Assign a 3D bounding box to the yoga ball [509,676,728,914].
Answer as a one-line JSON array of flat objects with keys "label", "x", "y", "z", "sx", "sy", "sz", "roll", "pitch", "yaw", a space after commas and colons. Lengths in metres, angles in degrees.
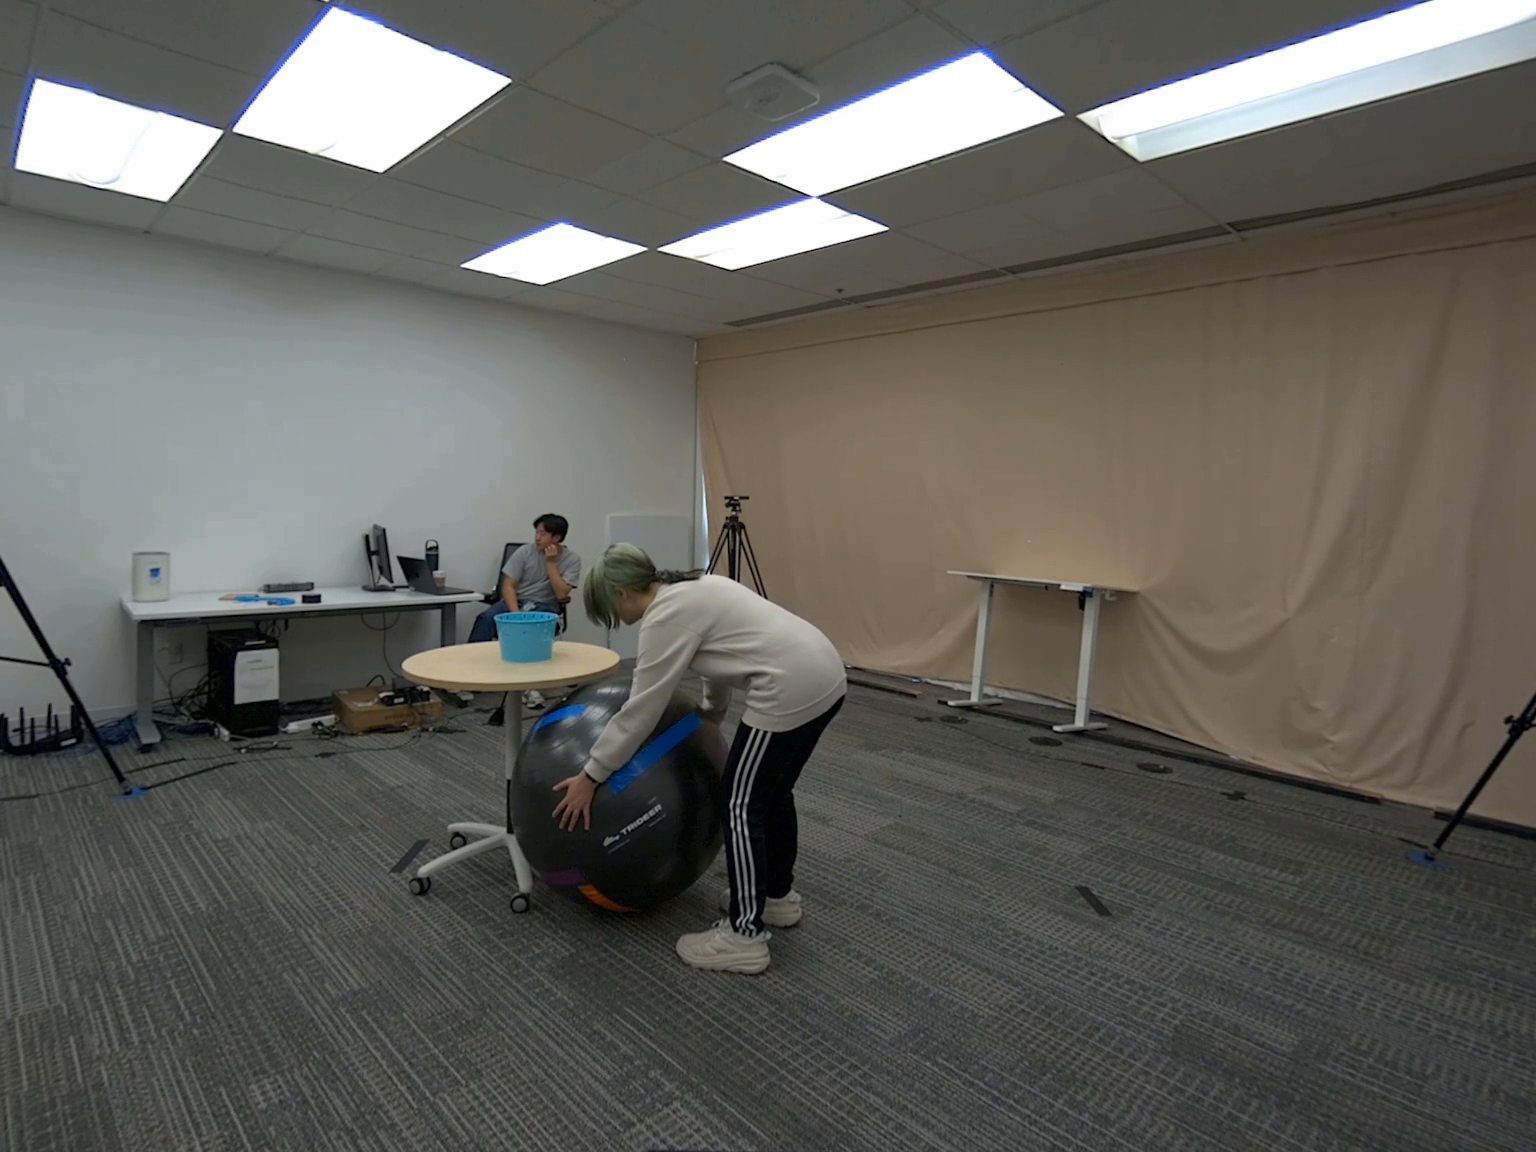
[{"label": "yoga ball", "x": -0.489, "y": 0.736, "z": 2.851, "sx": 0.757, "sy": 0.756, "sz": 0.761, "roll": 1, "pitch": 4, "yaw": -1}]
